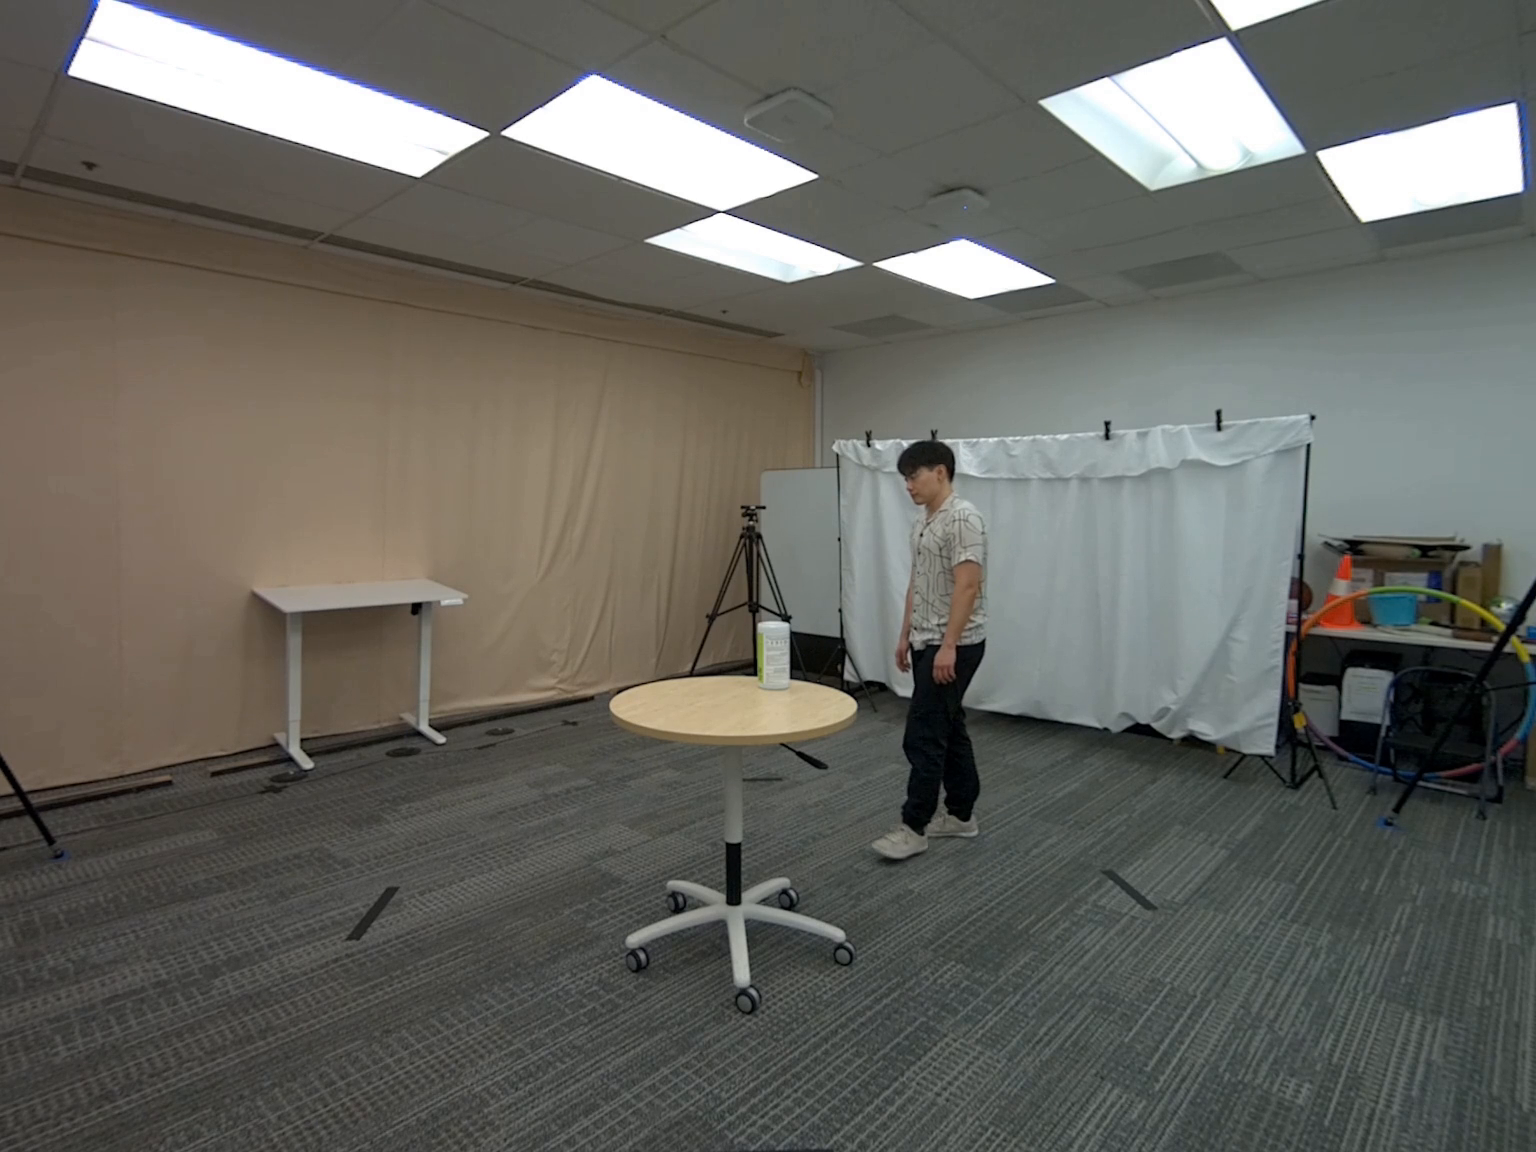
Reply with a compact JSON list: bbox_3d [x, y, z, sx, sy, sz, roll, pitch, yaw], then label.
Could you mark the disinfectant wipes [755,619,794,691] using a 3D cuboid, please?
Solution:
[{"bbox_3d":[0.021,0.266,2.827,0.118,0.217,0.118,-1,2,-2],"label":"disinfectant wipes"}]
